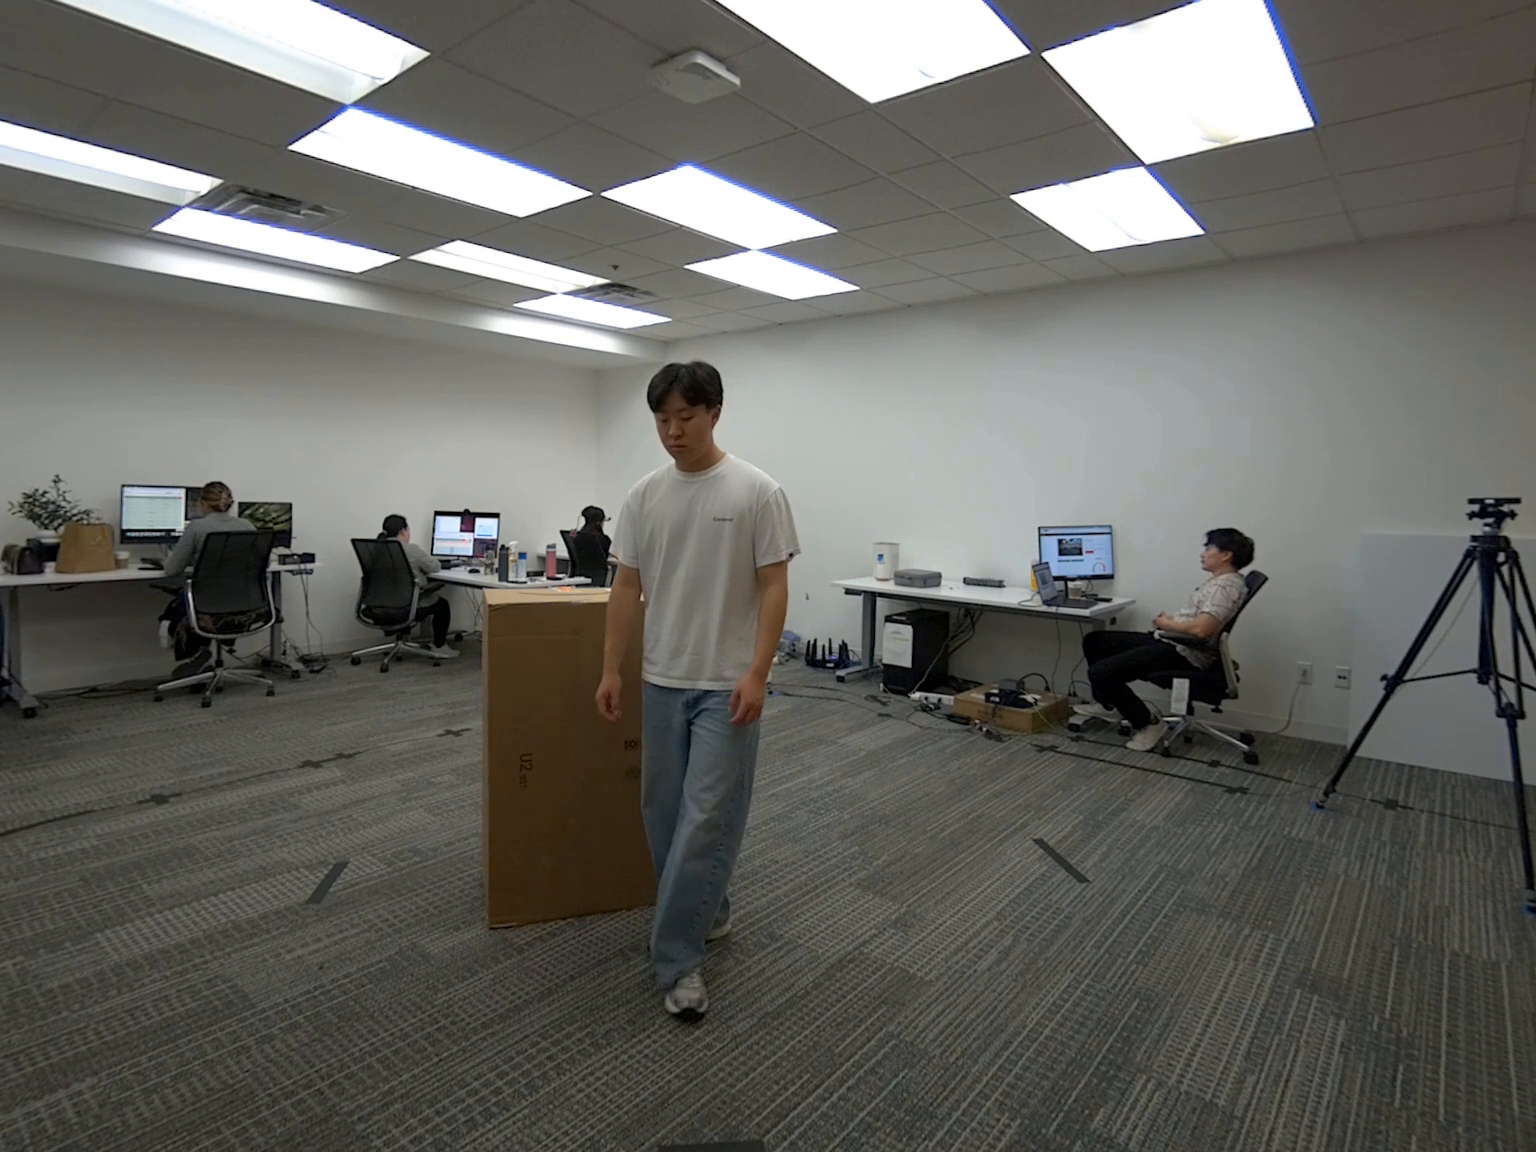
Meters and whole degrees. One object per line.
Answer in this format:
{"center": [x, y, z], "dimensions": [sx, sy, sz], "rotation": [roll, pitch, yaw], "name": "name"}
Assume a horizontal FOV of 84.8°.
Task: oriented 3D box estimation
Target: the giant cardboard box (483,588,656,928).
{"center": [-0.691, 0.566, 2.917], "dimensions": [0.566, 1.023, 0.436], "rotation": [-1, 3, -21], "name": "giant cardboard box"}
